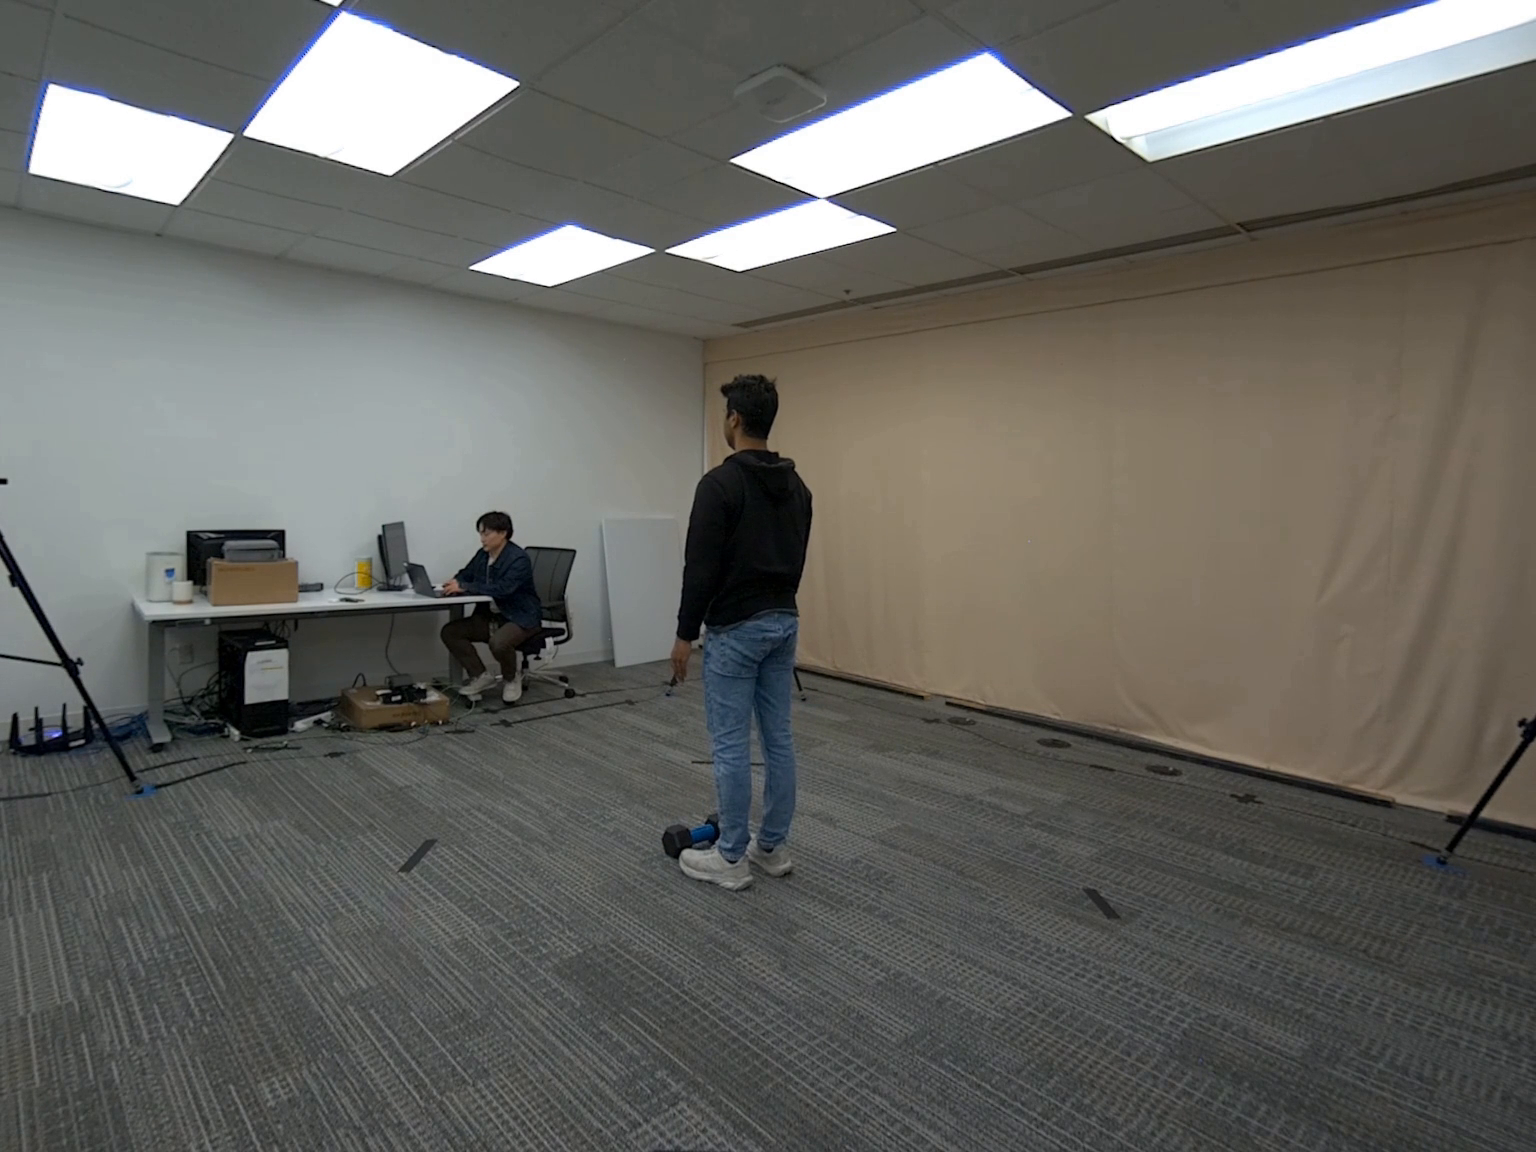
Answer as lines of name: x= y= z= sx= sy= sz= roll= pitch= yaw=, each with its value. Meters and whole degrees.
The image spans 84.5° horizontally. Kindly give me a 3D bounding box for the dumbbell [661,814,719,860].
dumbbell: x=-0.282 y=1.027 z=3.338 sx=0.287 sy=0.125 sz=0.109 roll=-3 pitch=-27 yaw=-42
